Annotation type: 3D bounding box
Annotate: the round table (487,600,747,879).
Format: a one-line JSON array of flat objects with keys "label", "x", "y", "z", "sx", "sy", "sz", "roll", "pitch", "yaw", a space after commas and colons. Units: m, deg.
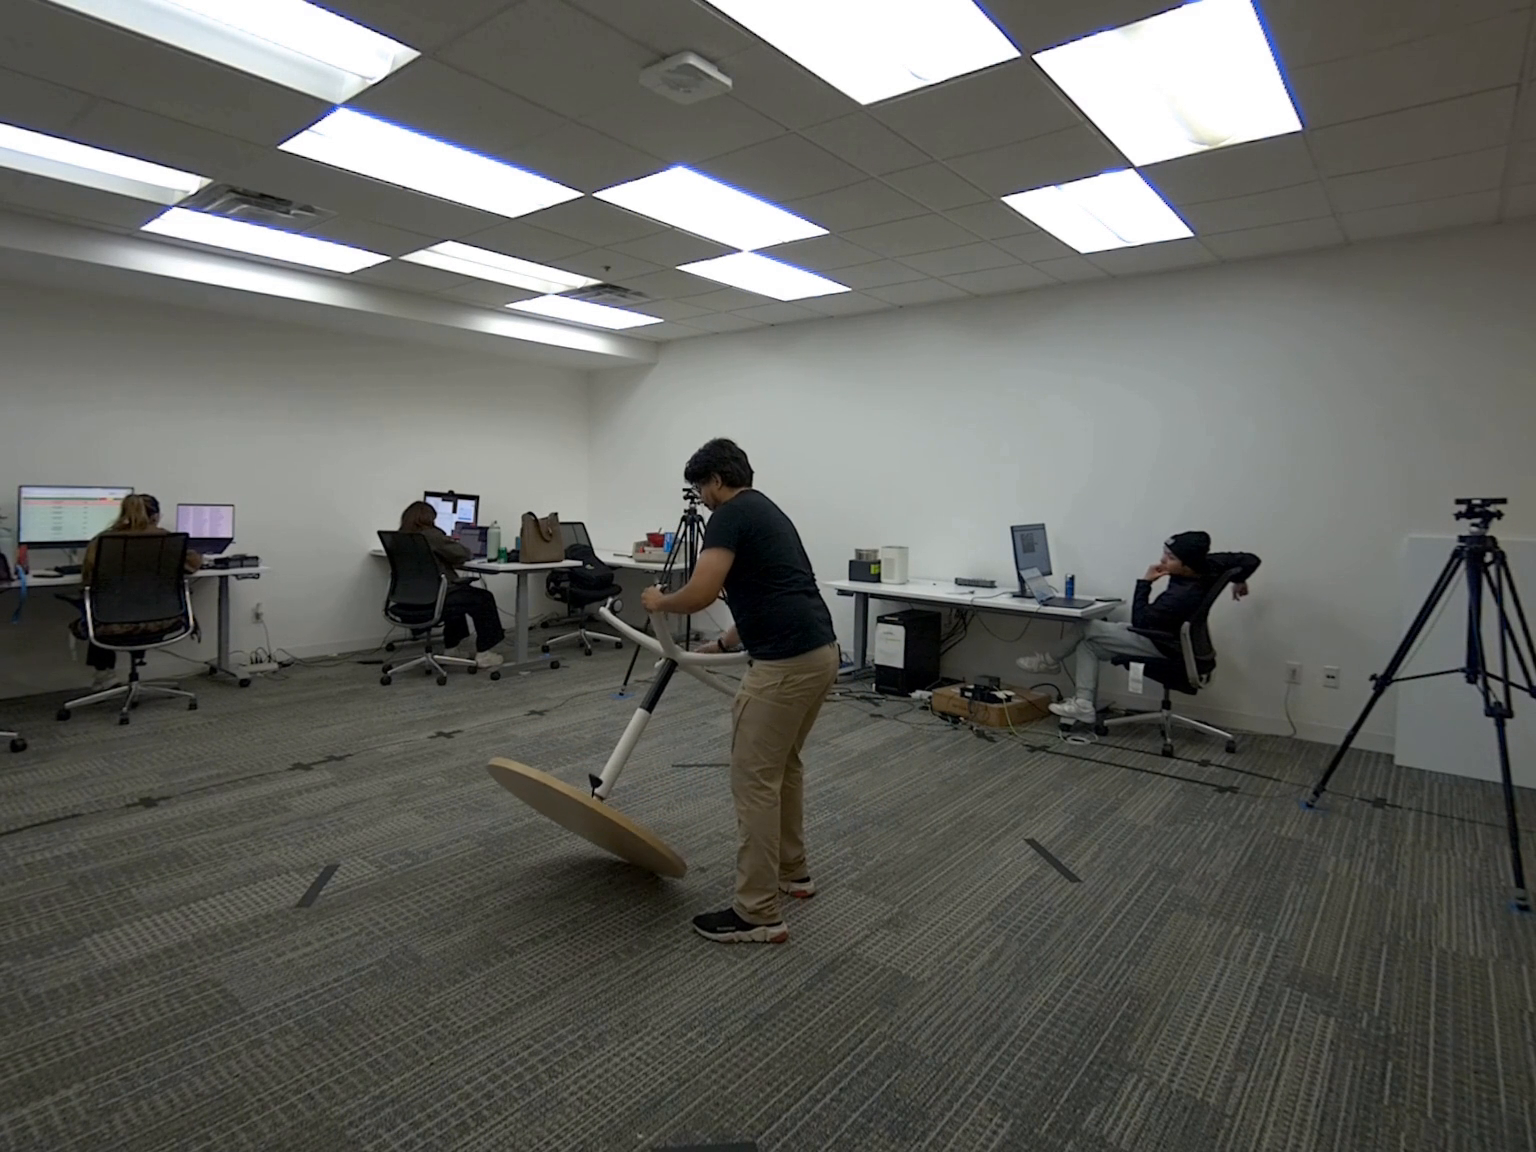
[{"label": "round table", "x": -0.487, "y": 0.520, "z": 3.074, "sx": 0.799, "sy": 0.792, "sz": 0.766, "roll": 23, "pitch": -29, "yaw": 11}]
